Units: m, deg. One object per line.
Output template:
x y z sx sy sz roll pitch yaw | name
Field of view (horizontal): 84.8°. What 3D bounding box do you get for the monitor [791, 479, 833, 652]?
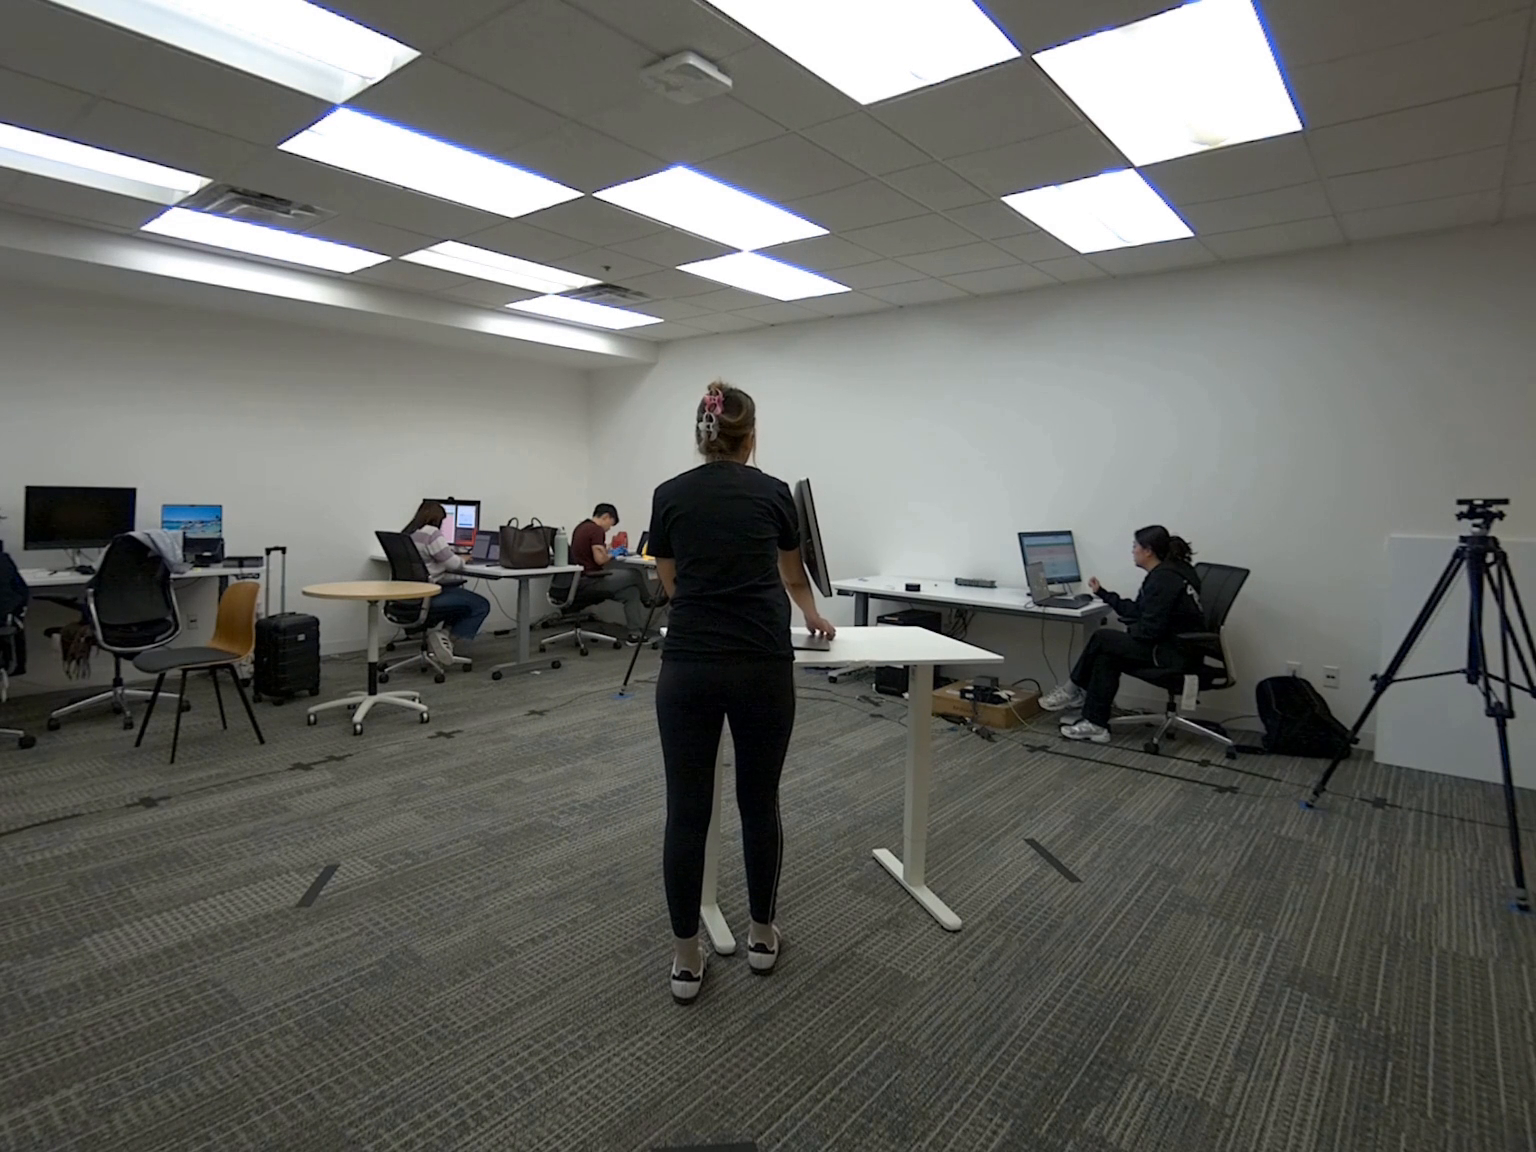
0.108 -0.049 2.813 0.188 0.521 0.539 -1 4 2 | monitor
